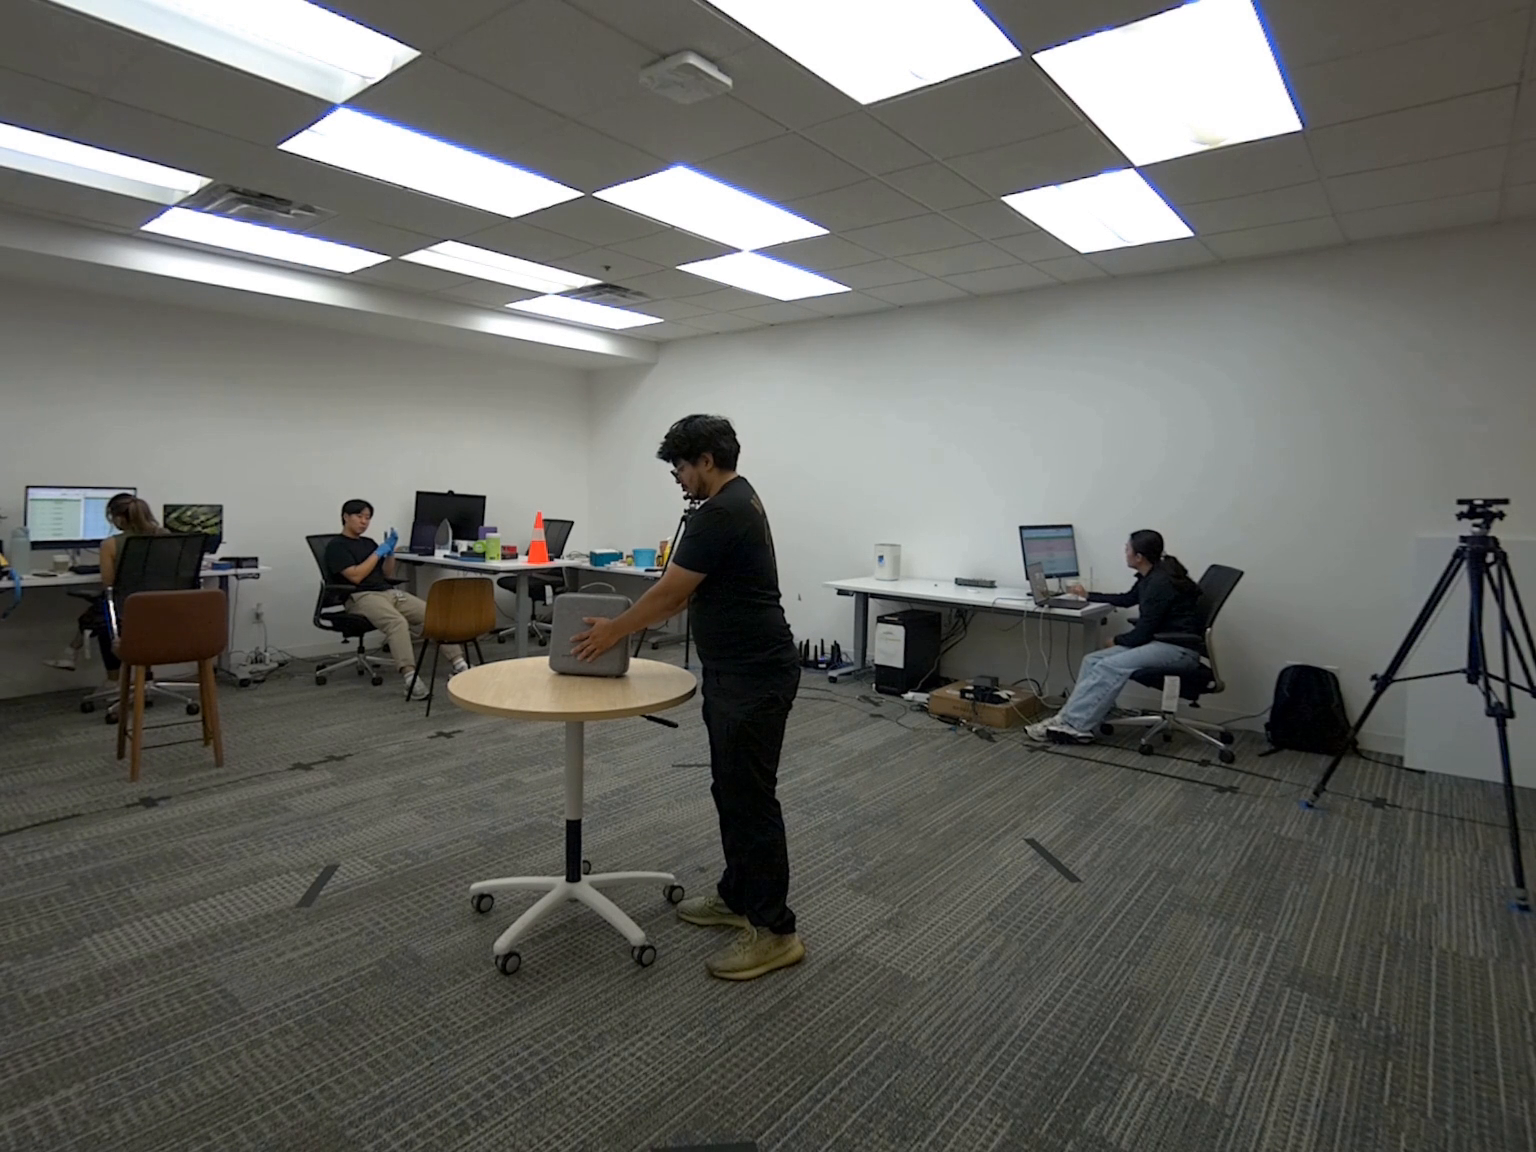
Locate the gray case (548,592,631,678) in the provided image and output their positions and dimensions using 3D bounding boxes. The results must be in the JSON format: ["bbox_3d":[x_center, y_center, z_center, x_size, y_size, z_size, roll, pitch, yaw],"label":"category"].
[{"bbox_3d":[-0.590,0.181,2.768,0.259,0.262,0.103,3,-6,8],"label":"gray case"}]
